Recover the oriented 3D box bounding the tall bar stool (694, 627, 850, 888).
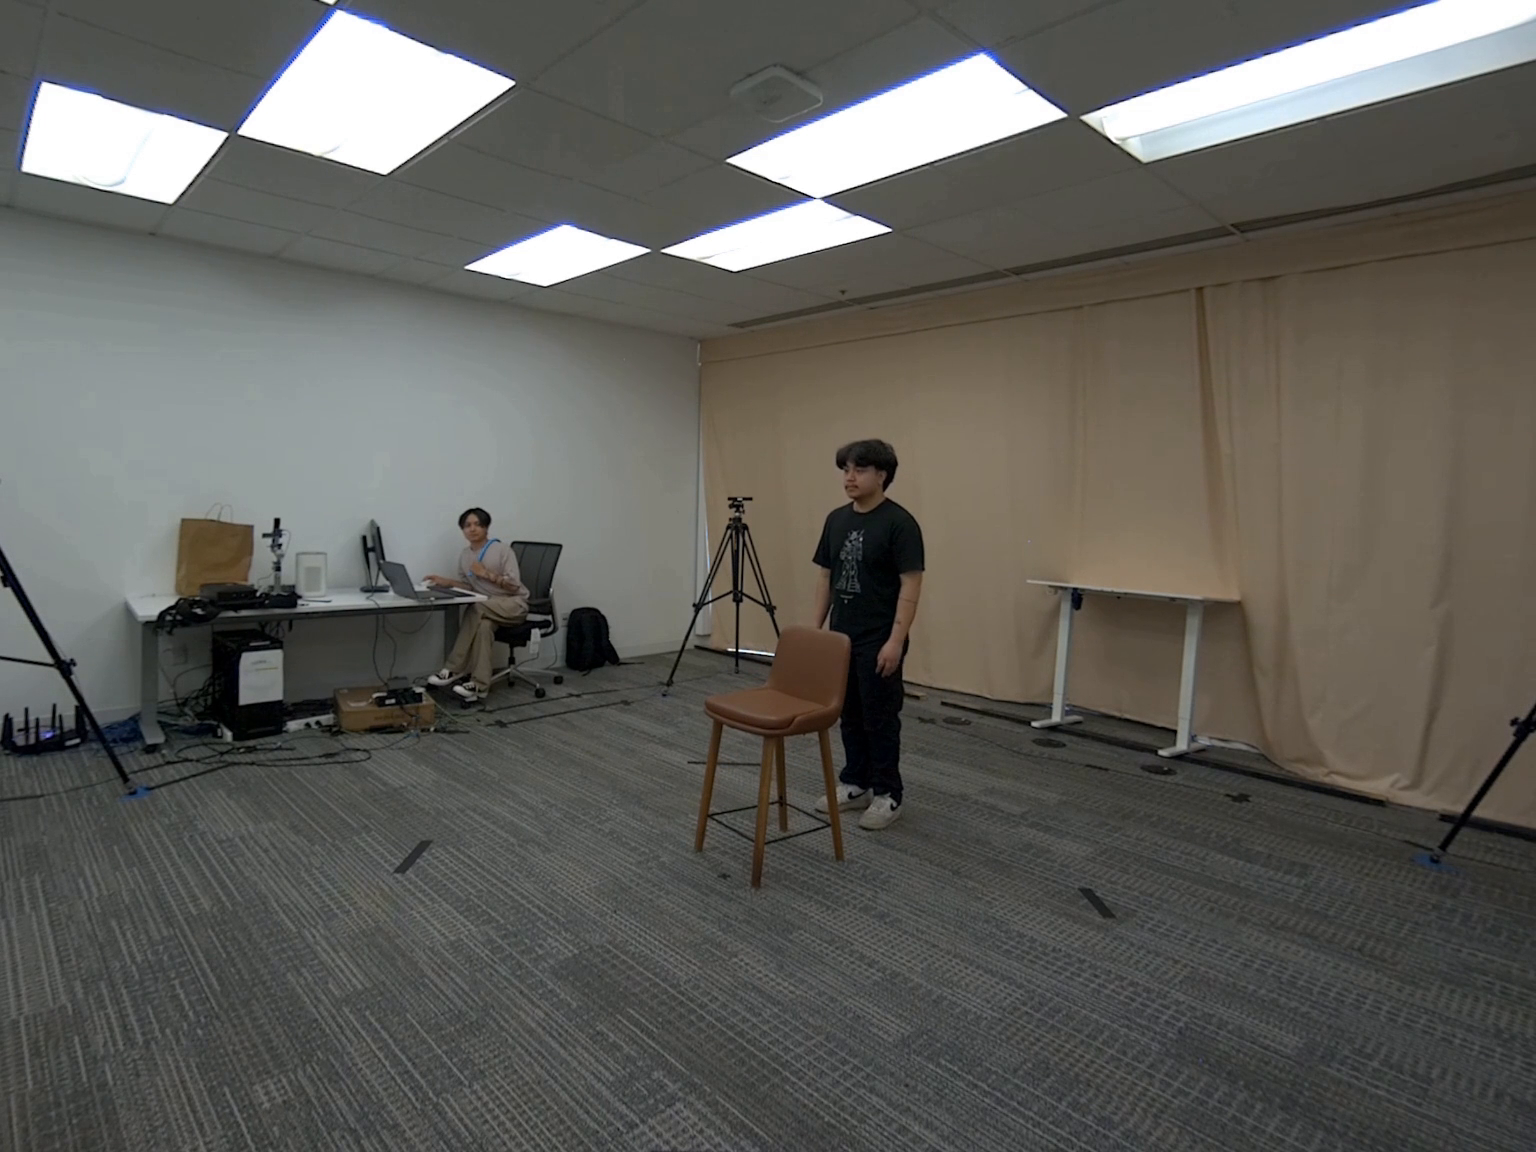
[{"bbox_3d":[0.016,0.662,3.275,0.457,0.889,0.467,1,2,-36],"label":"tall bar stool"}]
